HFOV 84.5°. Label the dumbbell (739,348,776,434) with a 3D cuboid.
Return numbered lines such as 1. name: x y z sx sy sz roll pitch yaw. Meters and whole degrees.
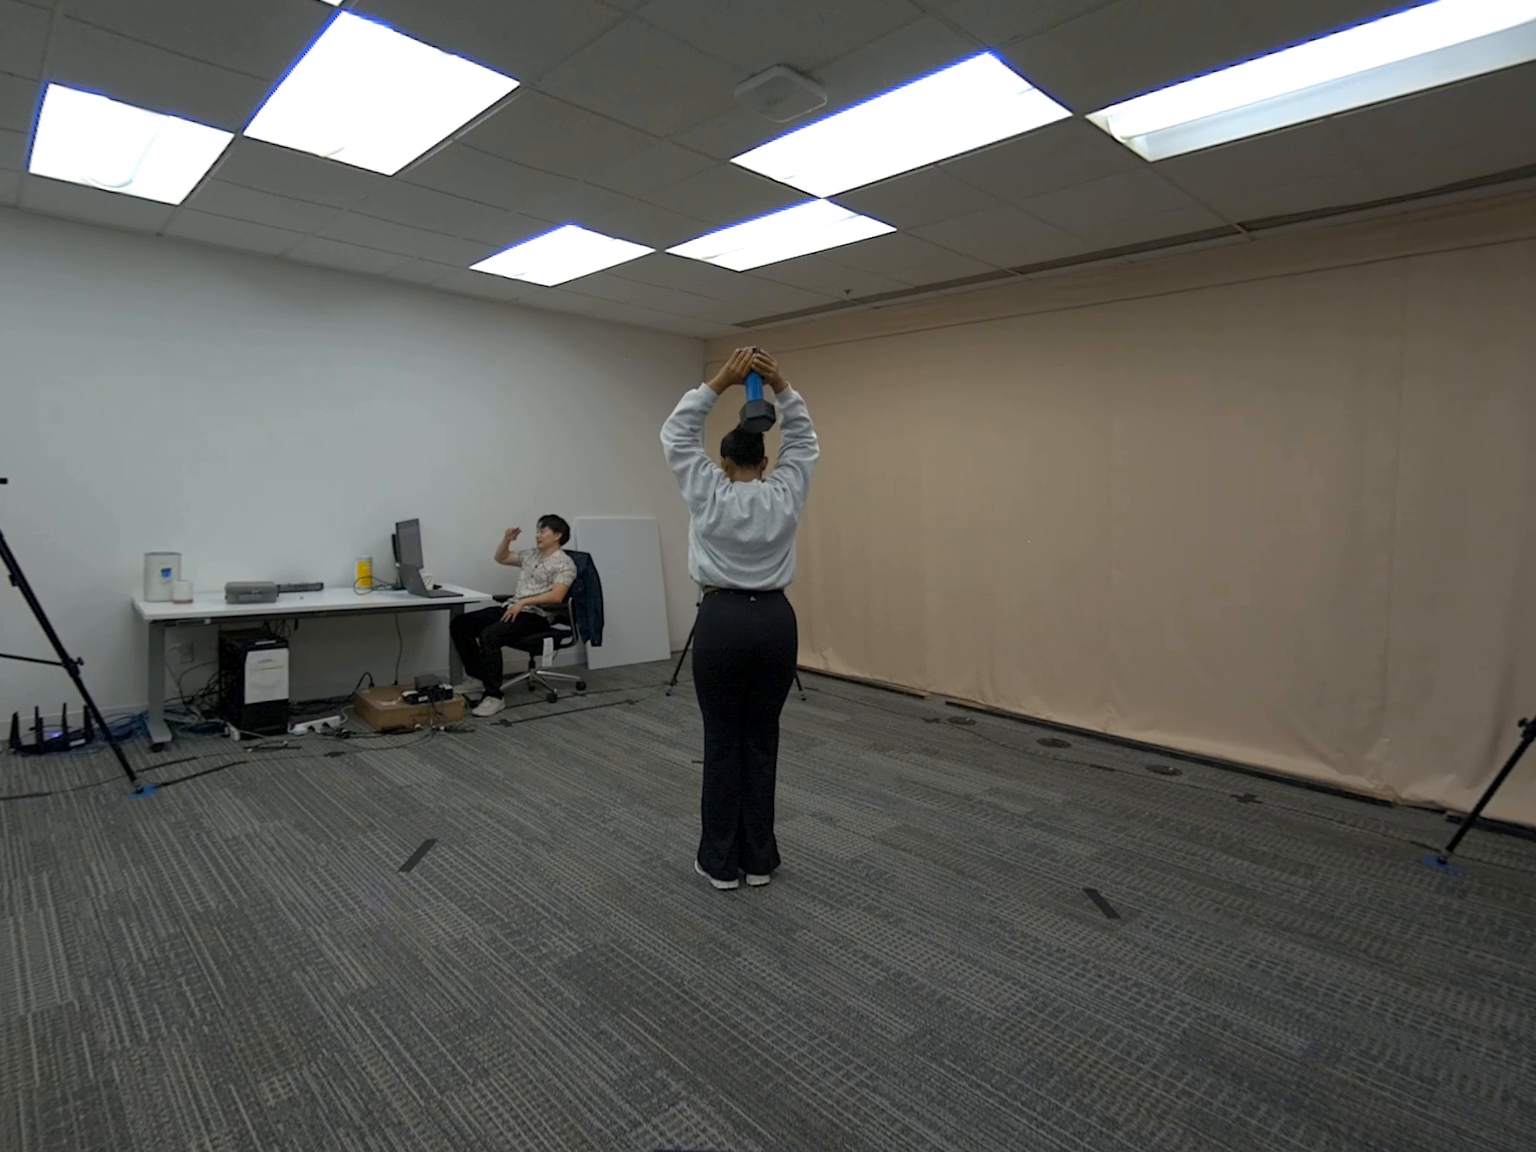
1. dumbbell: -0.061 -0.639 2.902 0.110 0.299 0.119 -21 -27 32
